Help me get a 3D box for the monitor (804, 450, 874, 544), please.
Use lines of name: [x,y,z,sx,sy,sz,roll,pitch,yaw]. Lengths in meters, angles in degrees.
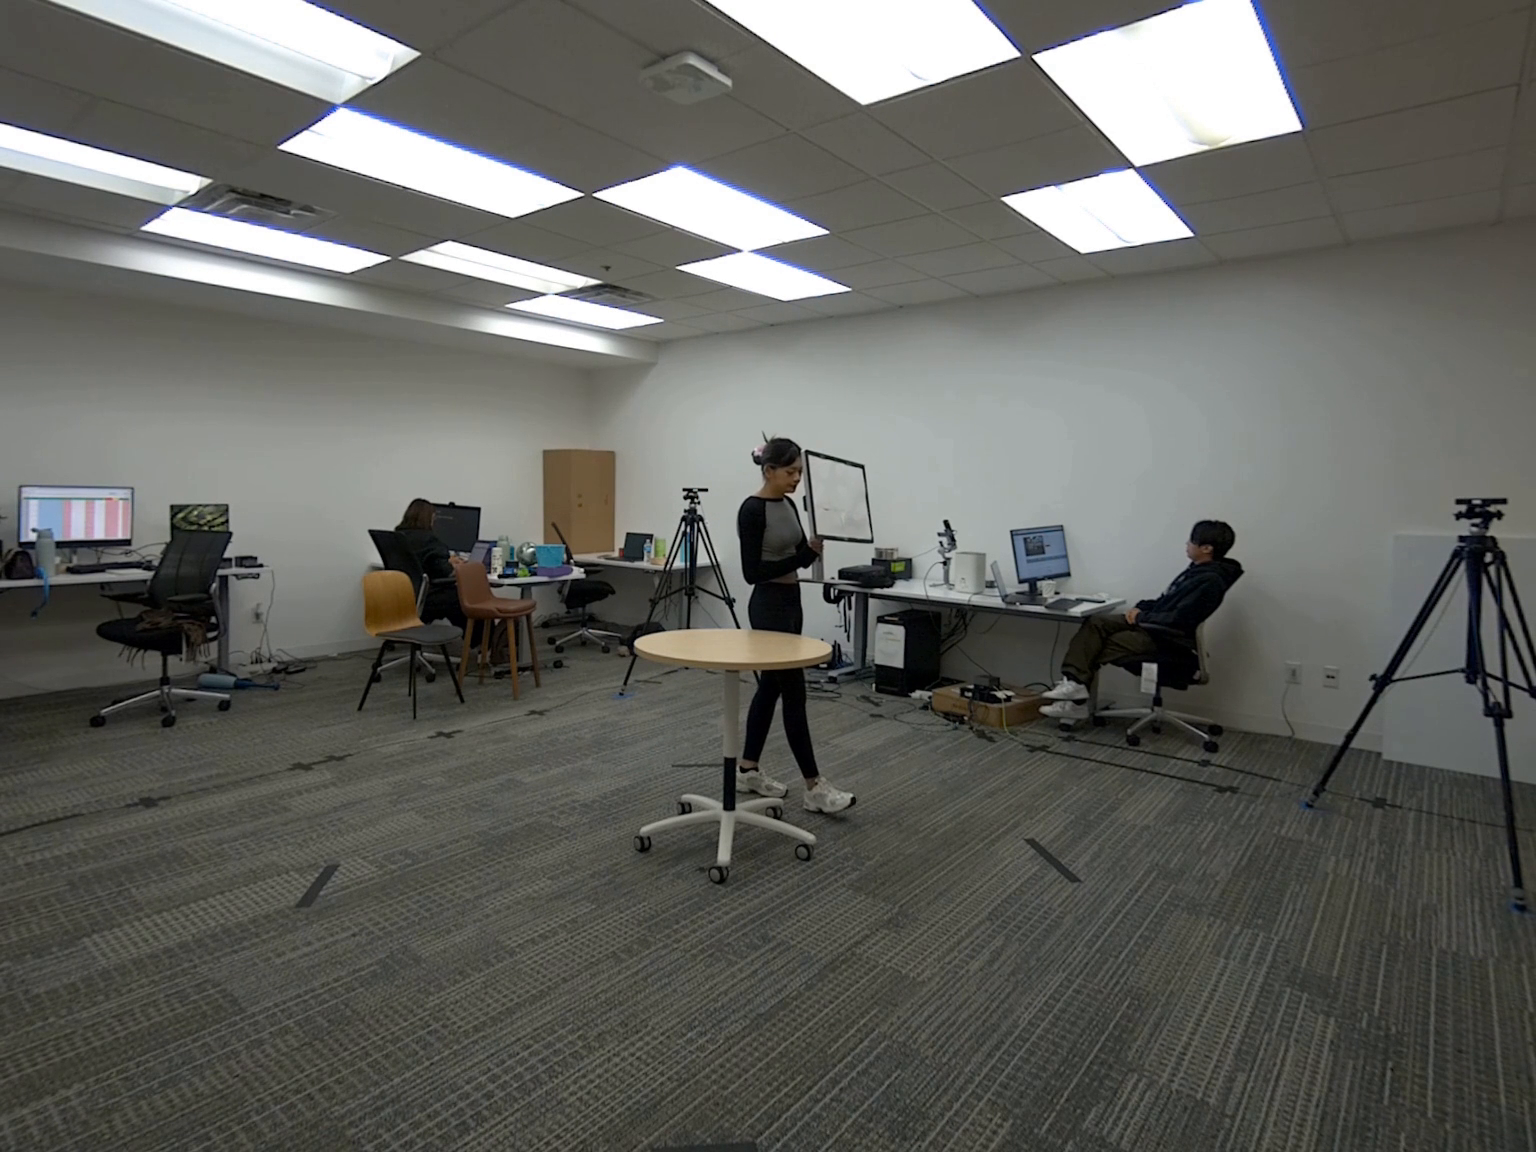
monitor: [0.264,-0.248,3.664,0.193,0.523,0.523,3,0,30]
